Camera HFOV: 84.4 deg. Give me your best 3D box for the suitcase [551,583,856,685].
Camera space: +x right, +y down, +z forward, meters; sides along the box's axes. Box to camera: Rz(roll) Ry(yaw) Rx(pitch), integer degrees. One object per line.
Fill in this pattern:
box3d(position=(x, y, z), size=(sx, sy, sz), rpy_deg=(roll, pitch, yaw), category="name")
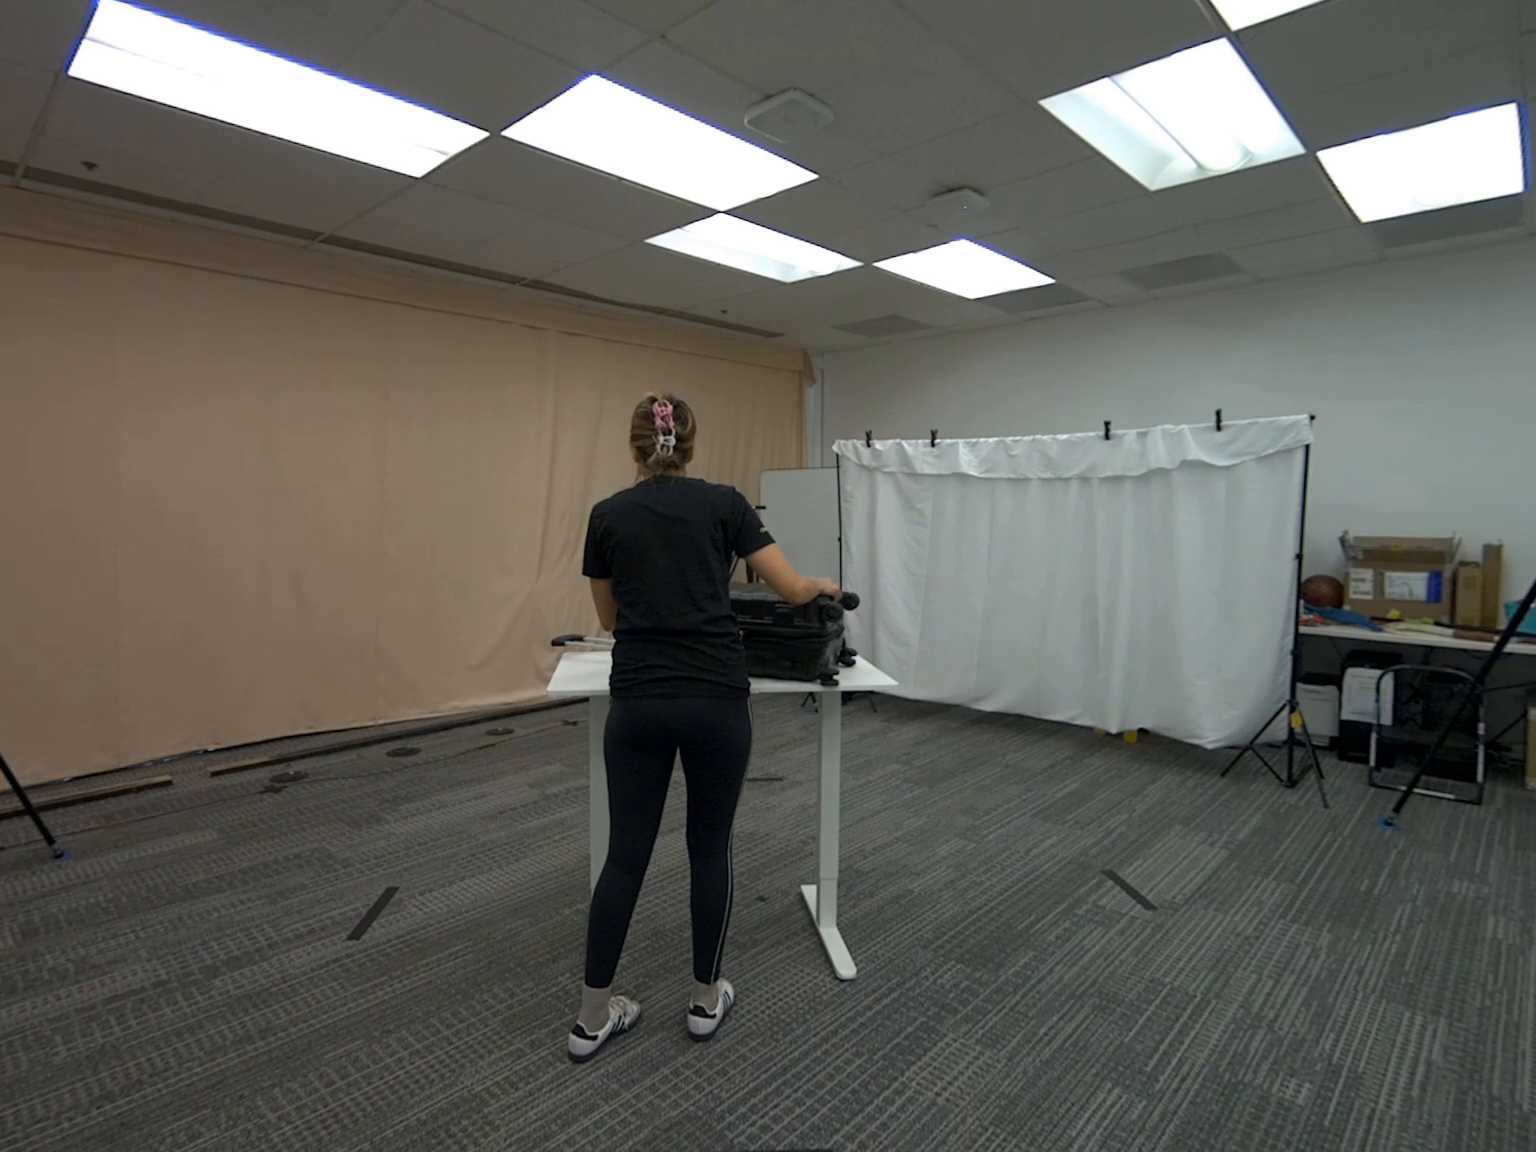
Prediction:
box3d(position=(-0.208, 0.148, 2.711), size=(0.998, 0.256, 0.378), rpy_deg=(5, 8, 18), category="suitcase")
